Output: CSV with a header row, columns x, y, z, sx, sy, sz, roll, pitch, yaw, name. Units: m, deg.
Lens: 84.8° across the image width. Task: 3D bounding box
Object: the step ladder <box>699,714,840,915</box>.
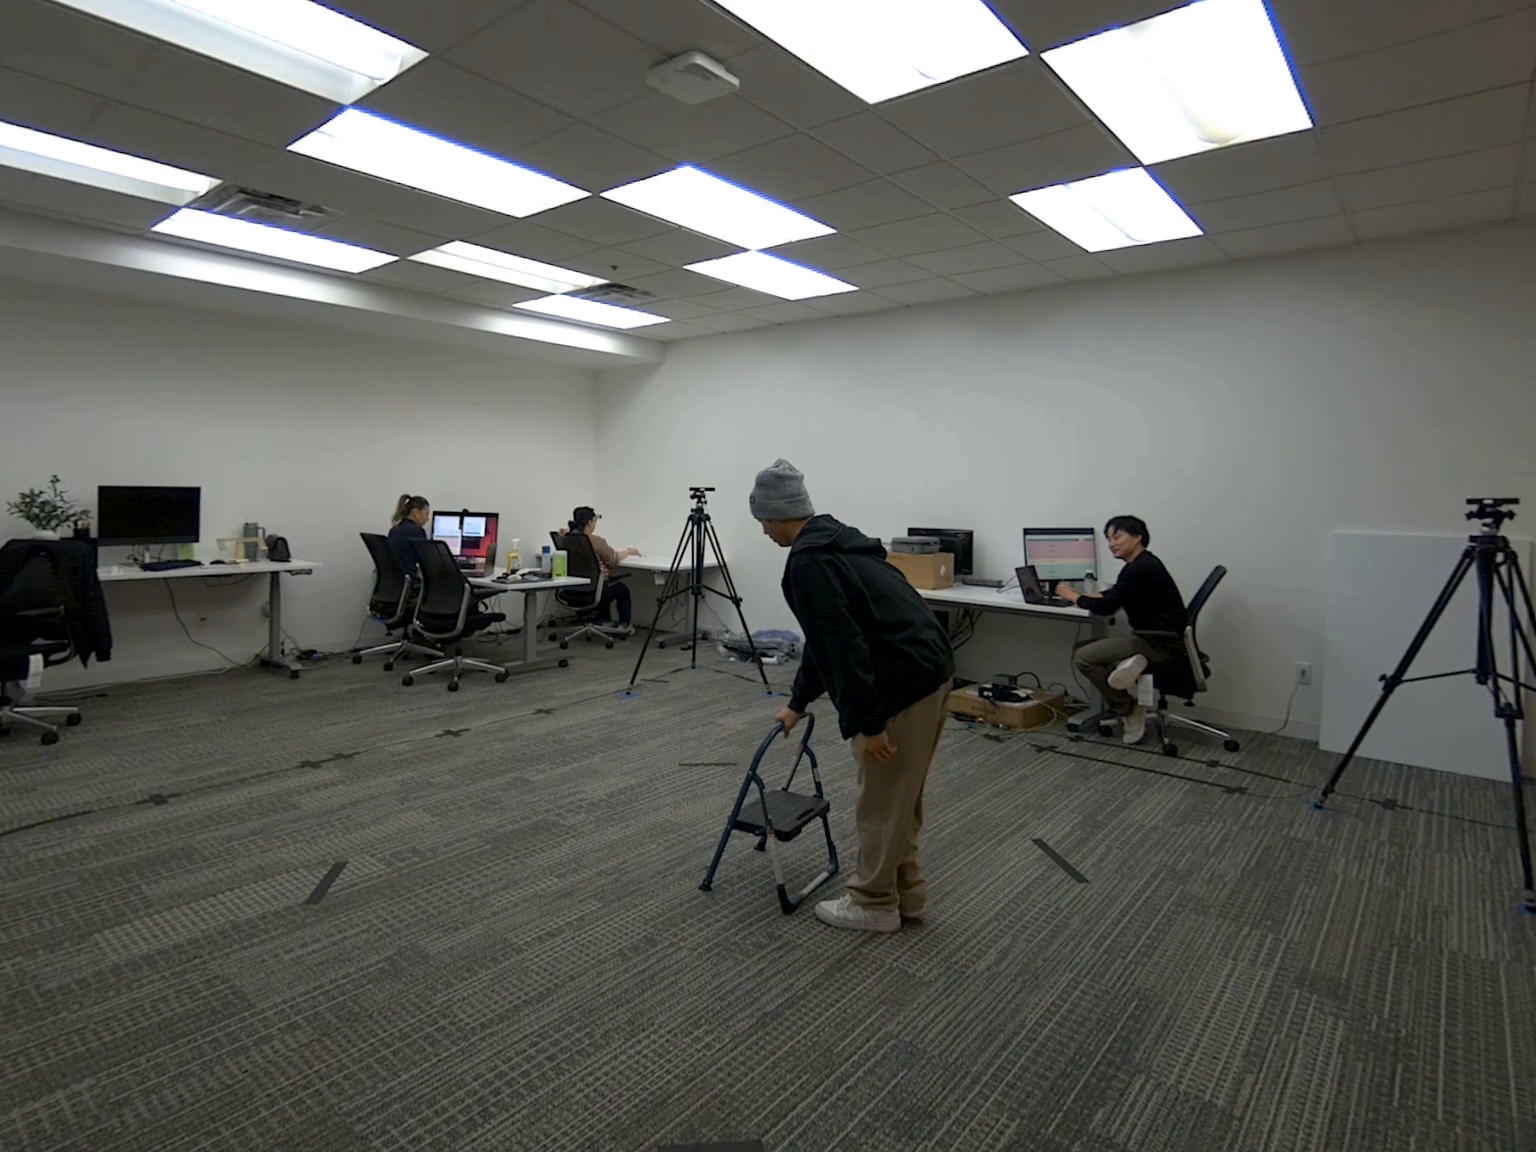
x,y,z,sx,sy,sz,roll,pitch,yaw,name
0.013,0.775,3.020,0.359,0.604,0.419,3,4,29,step ladder
